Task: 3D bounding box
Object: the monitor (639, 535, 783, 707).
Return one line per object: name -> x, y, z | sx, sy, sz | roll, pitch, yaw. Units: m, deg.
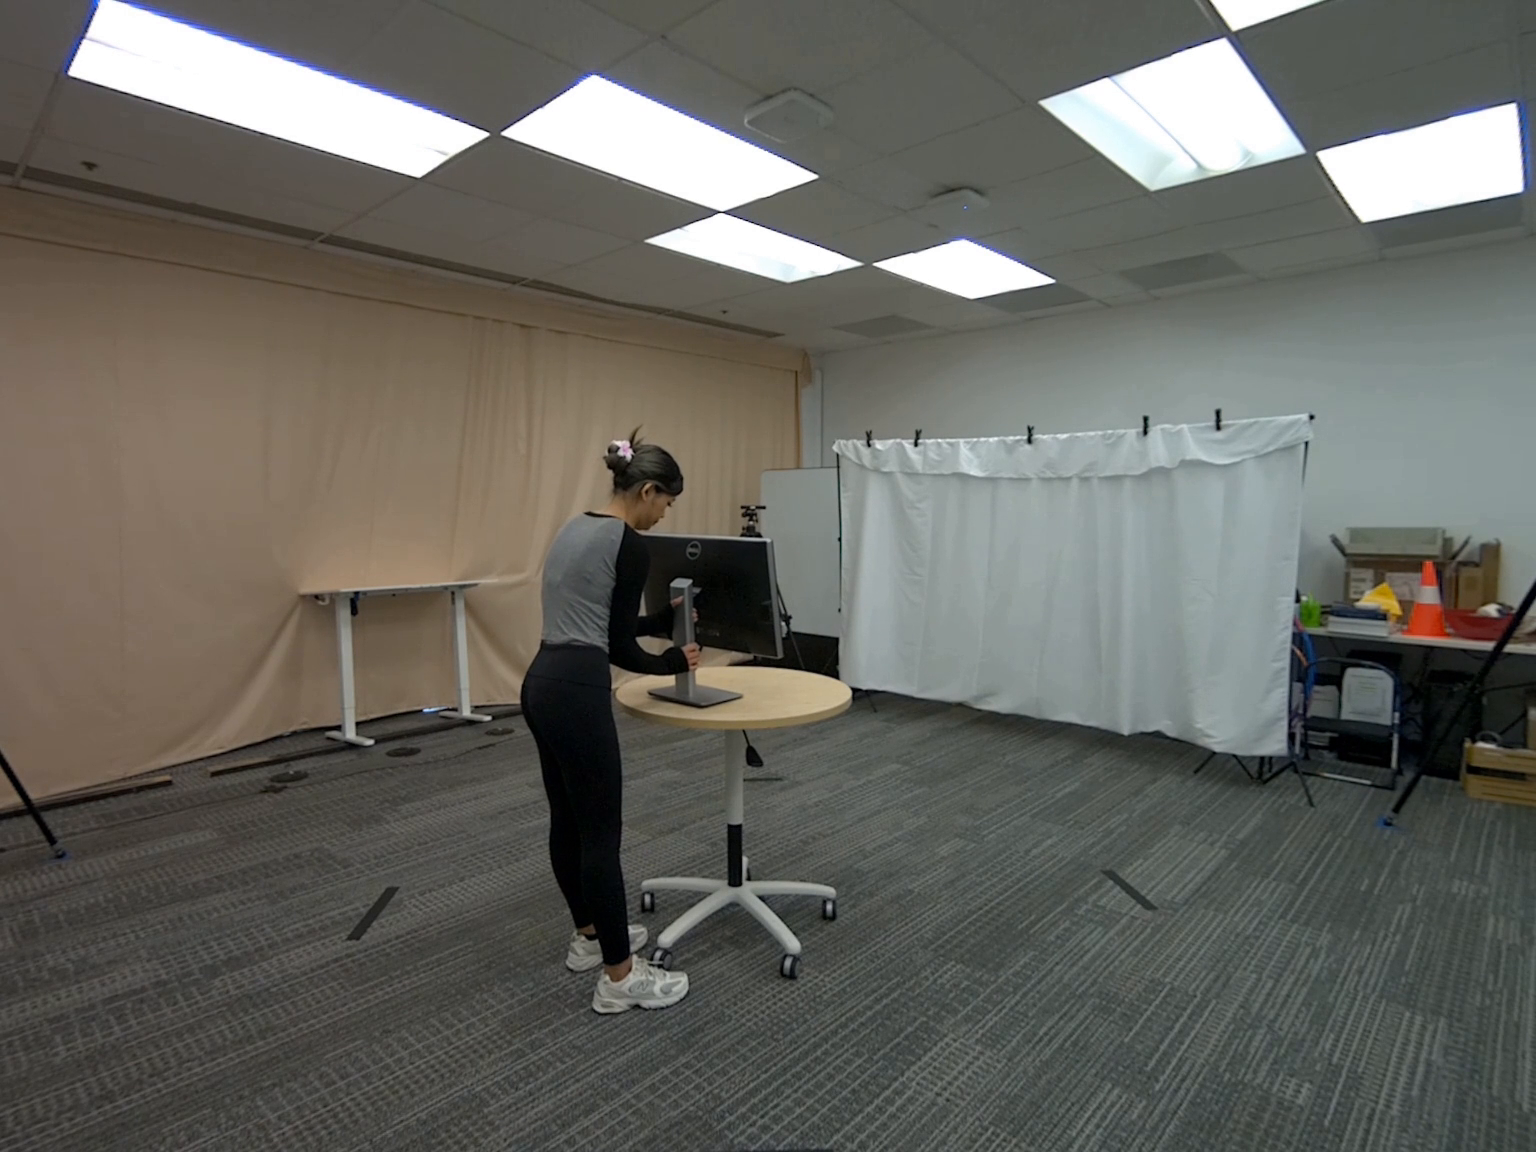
monitor -> -0.215, 0.132, 2.638 | 0.547, 0.517, 0.169 | 3, -3, 39
